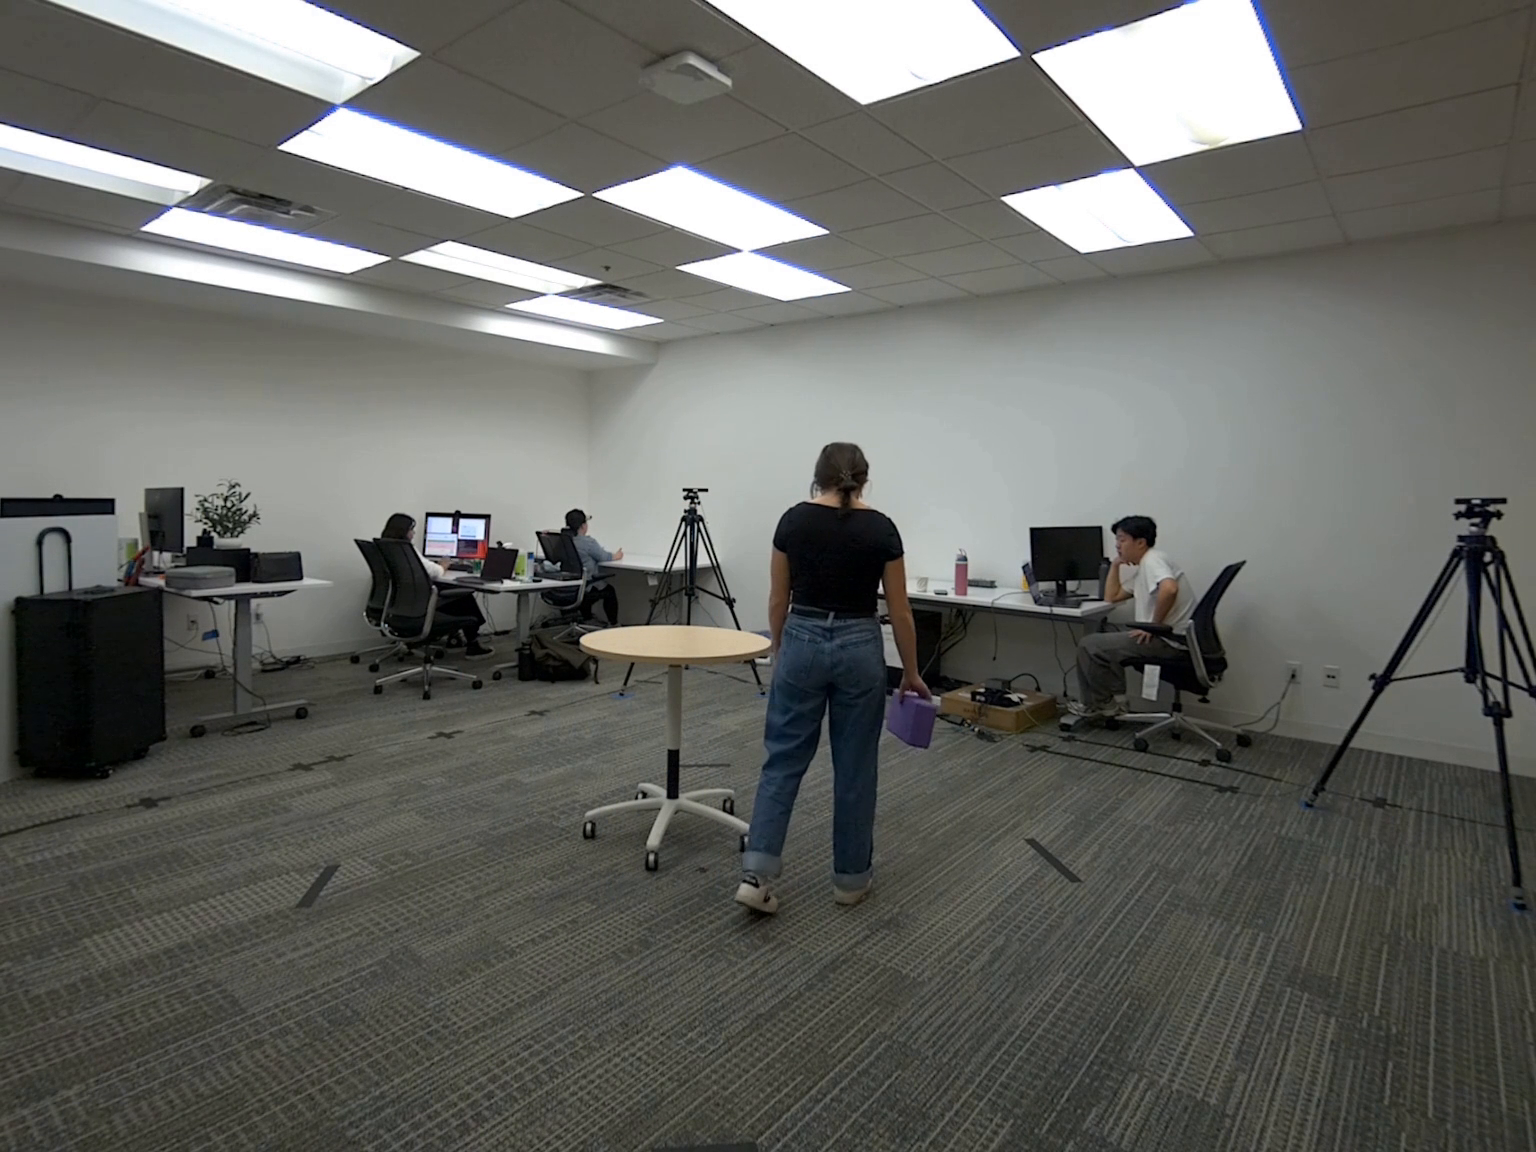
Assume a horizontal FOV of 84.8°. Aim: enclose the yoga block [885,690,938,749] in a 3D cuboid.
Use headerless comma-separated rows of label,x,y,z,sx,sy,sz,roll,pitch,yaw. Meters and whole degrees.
yoga block,0.484,0.485,2.906,0.075,0.149,0.233,11,2,-13
